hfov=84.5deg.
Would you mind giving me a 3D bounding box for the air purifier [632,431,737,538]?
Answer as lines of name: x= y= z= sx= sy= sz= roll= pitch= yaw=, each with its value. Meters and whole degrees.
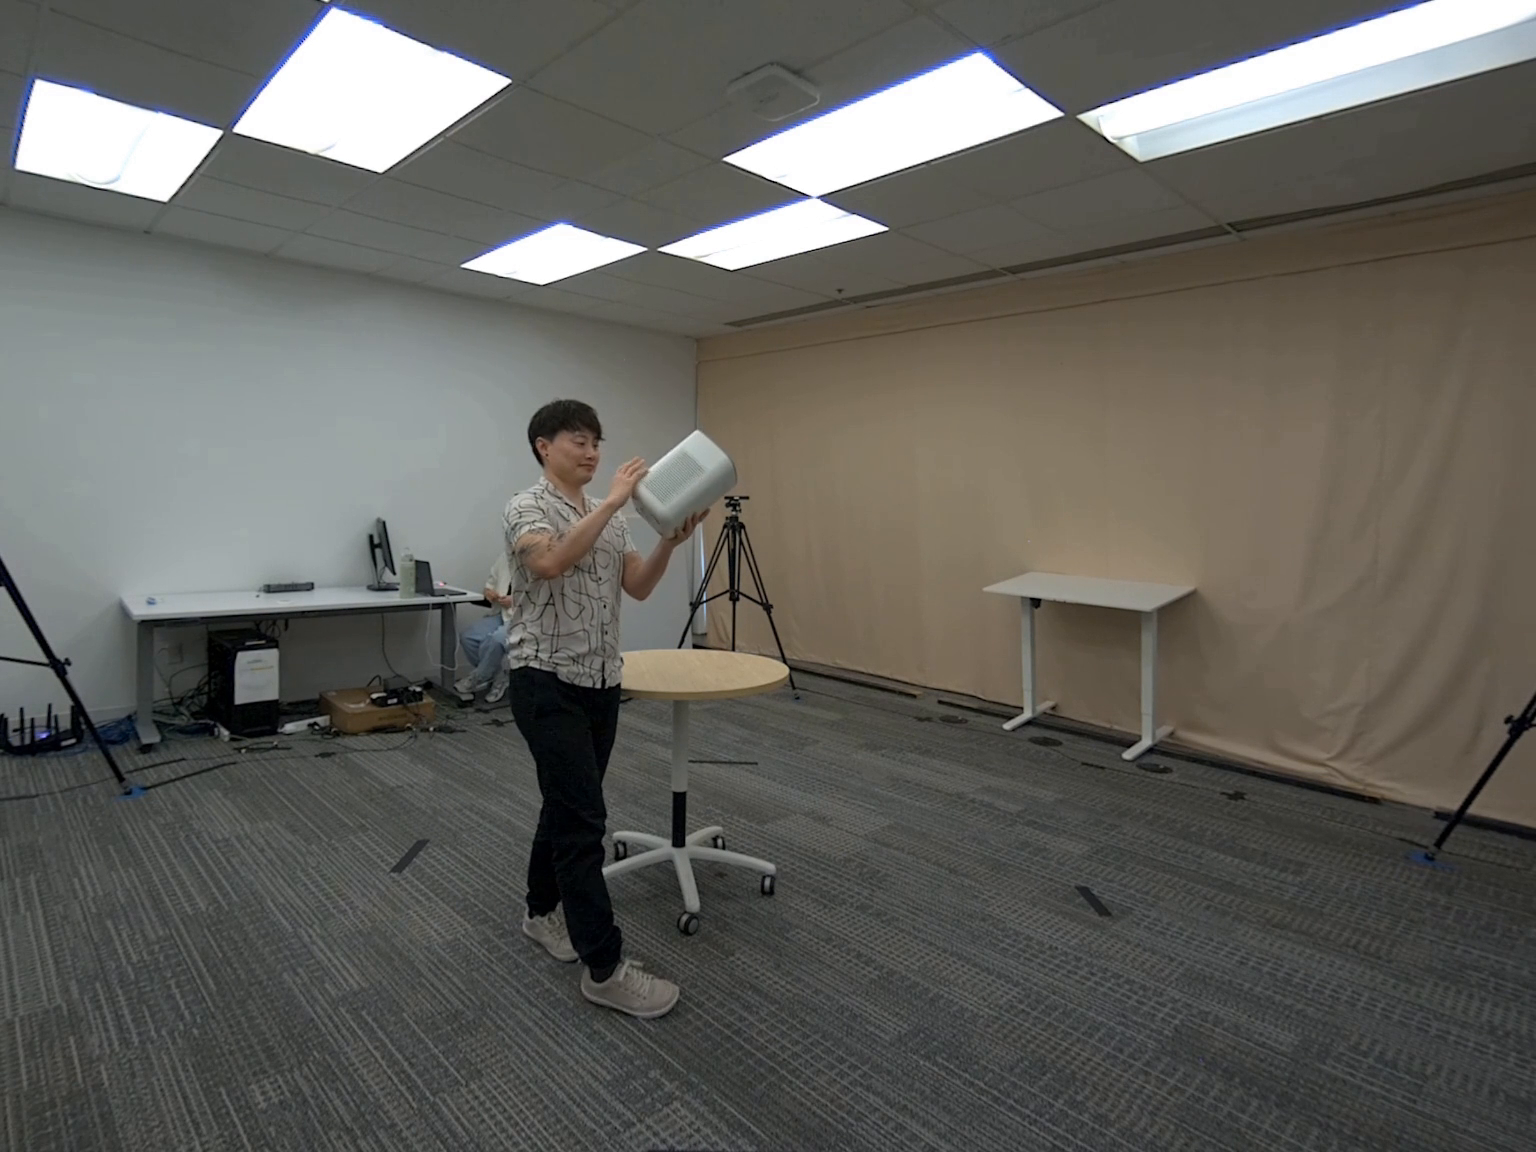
air purifier: x=-0.248 y=-0.257 z=2.353 sx=0.265 sy=0.174 sz=0.168 roll=-42 pitch=-16 yaw=-15
